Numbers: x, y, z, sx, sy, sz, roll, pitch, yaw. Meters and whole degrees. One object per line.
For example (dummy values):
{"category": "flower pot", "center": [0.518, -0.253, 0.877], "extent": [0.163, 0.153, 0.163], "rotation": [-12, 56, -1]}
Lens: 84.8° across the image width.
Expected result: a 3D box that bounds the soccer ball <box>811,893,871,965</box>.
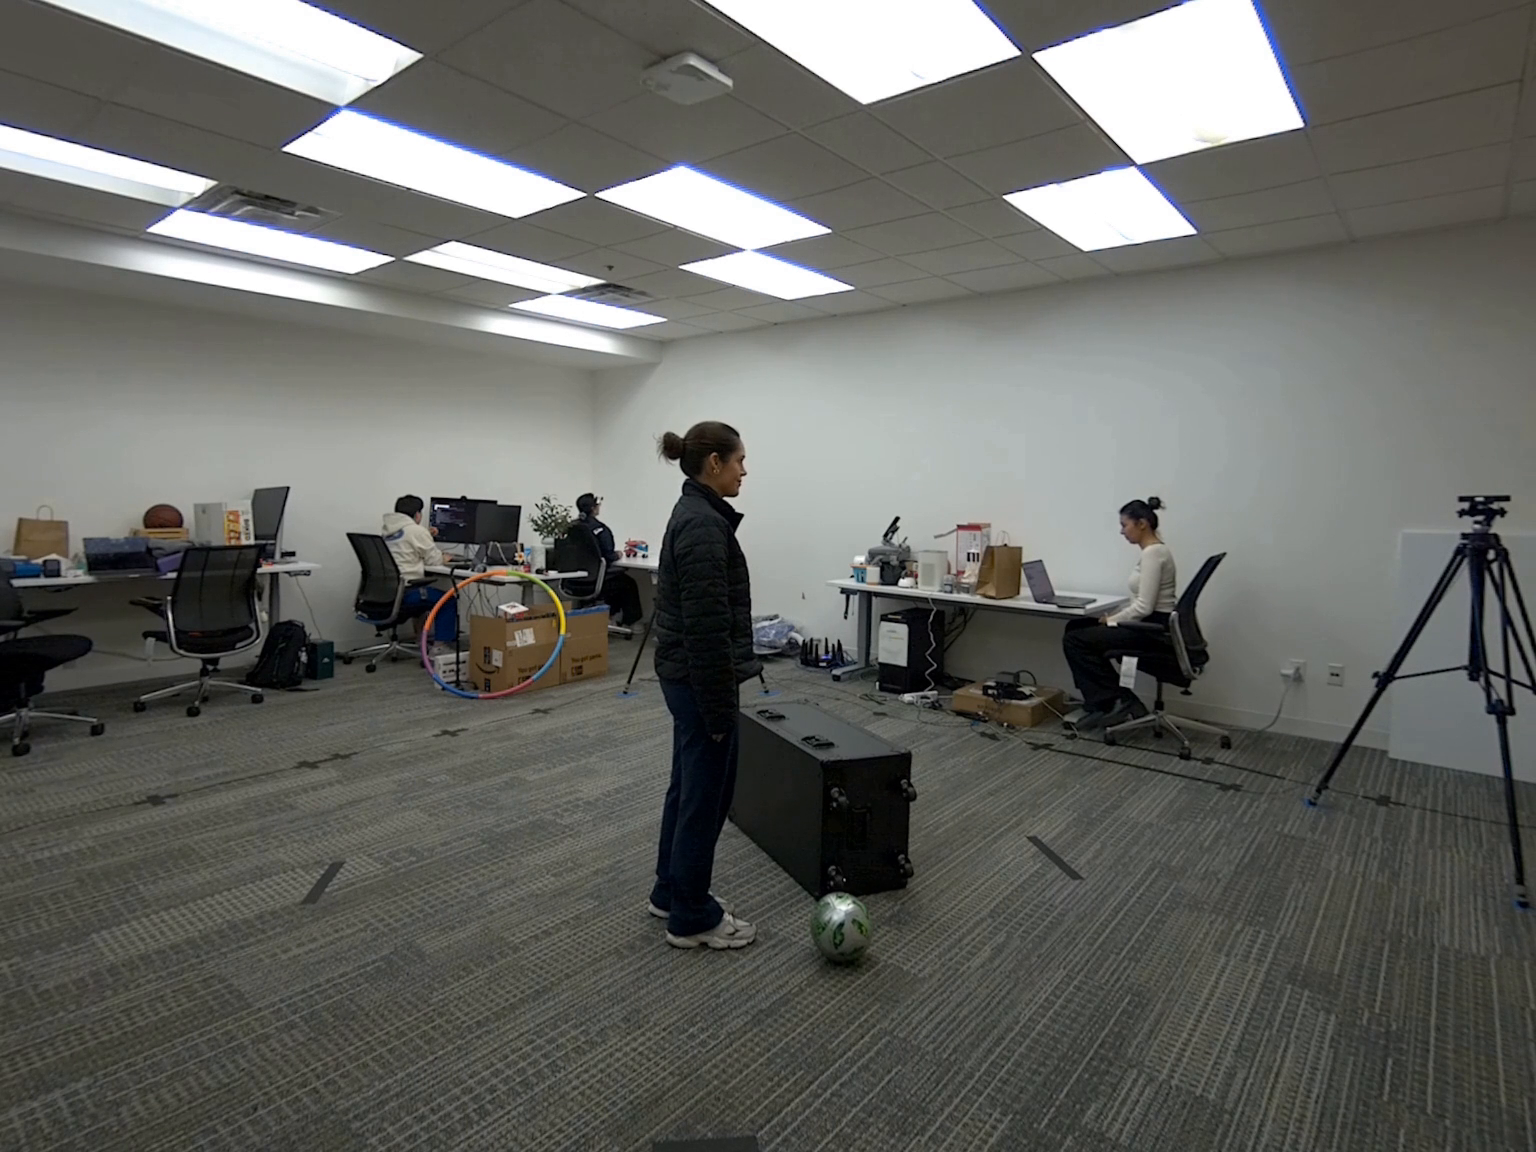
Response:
{"category": "soccer ball", "center": [0.212, 1.042, 2.526], "extent": [0.187, 0.187, 0.188], "rotation": [1, 4, -2]}
